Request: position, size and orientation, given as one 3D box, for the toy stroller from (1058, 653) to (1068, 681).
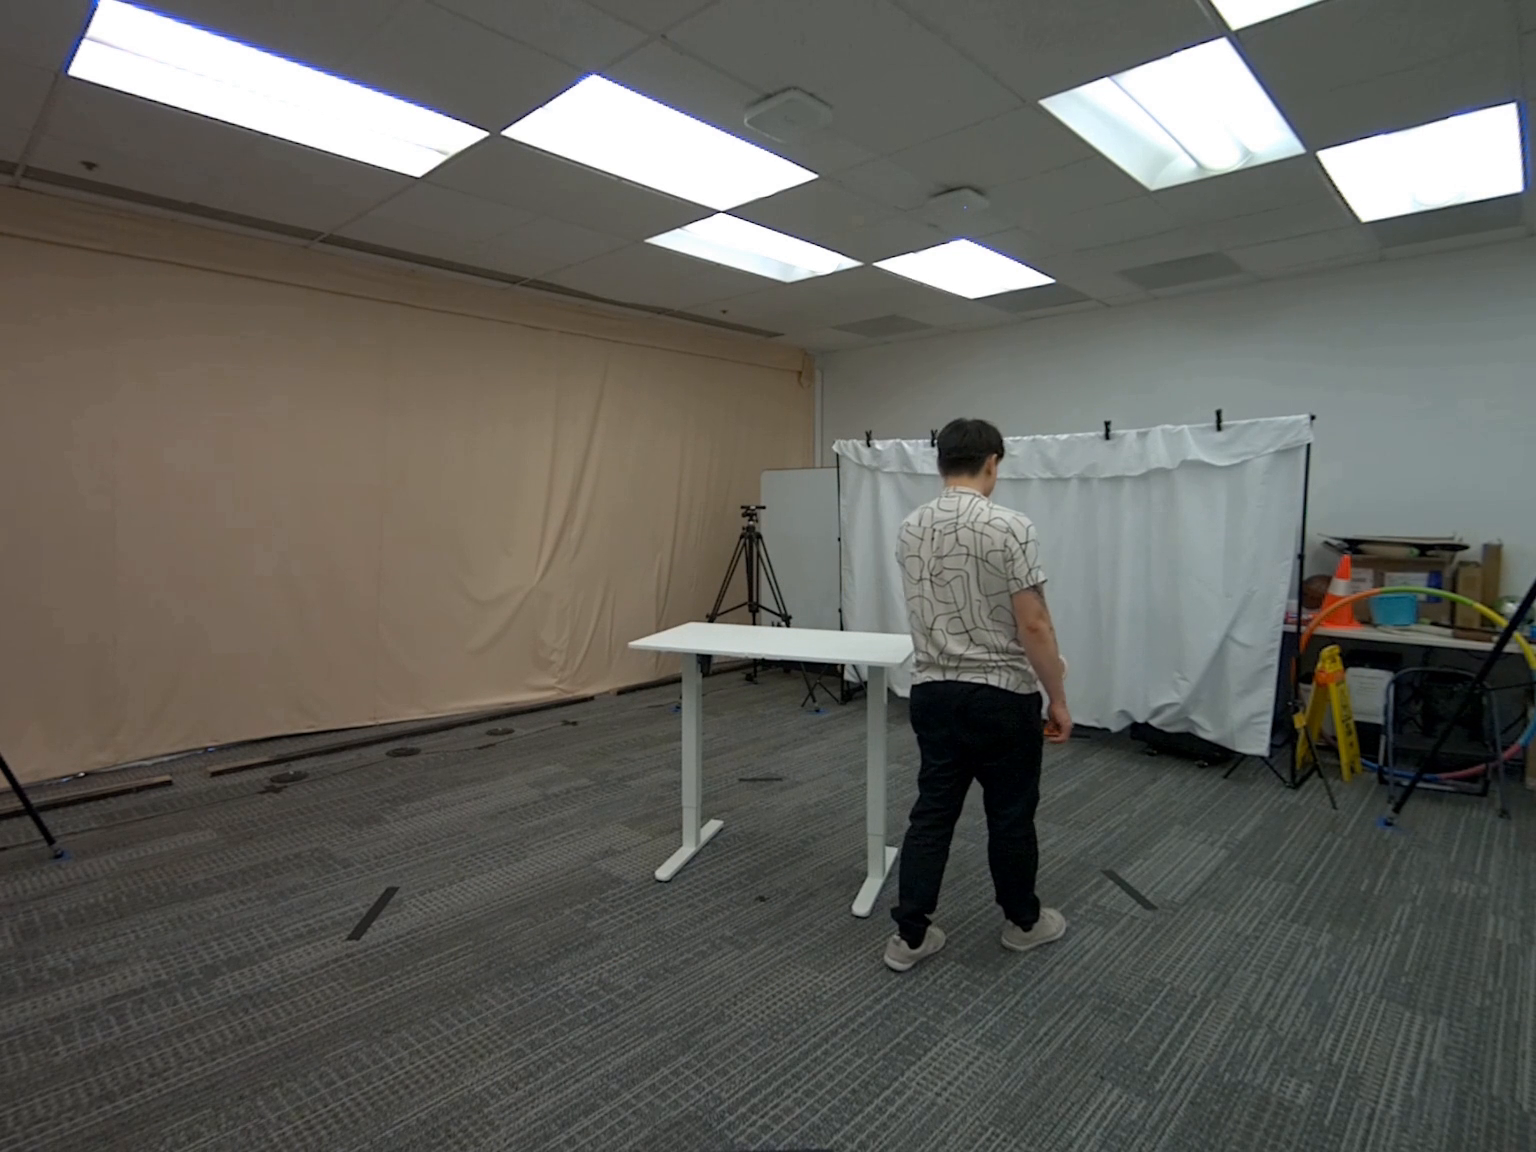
[{"bbox_3d":[0.855,0.196,3.054,0.343,0.538,0.278,-11,-8,5],"label":"toy stroller"}]
